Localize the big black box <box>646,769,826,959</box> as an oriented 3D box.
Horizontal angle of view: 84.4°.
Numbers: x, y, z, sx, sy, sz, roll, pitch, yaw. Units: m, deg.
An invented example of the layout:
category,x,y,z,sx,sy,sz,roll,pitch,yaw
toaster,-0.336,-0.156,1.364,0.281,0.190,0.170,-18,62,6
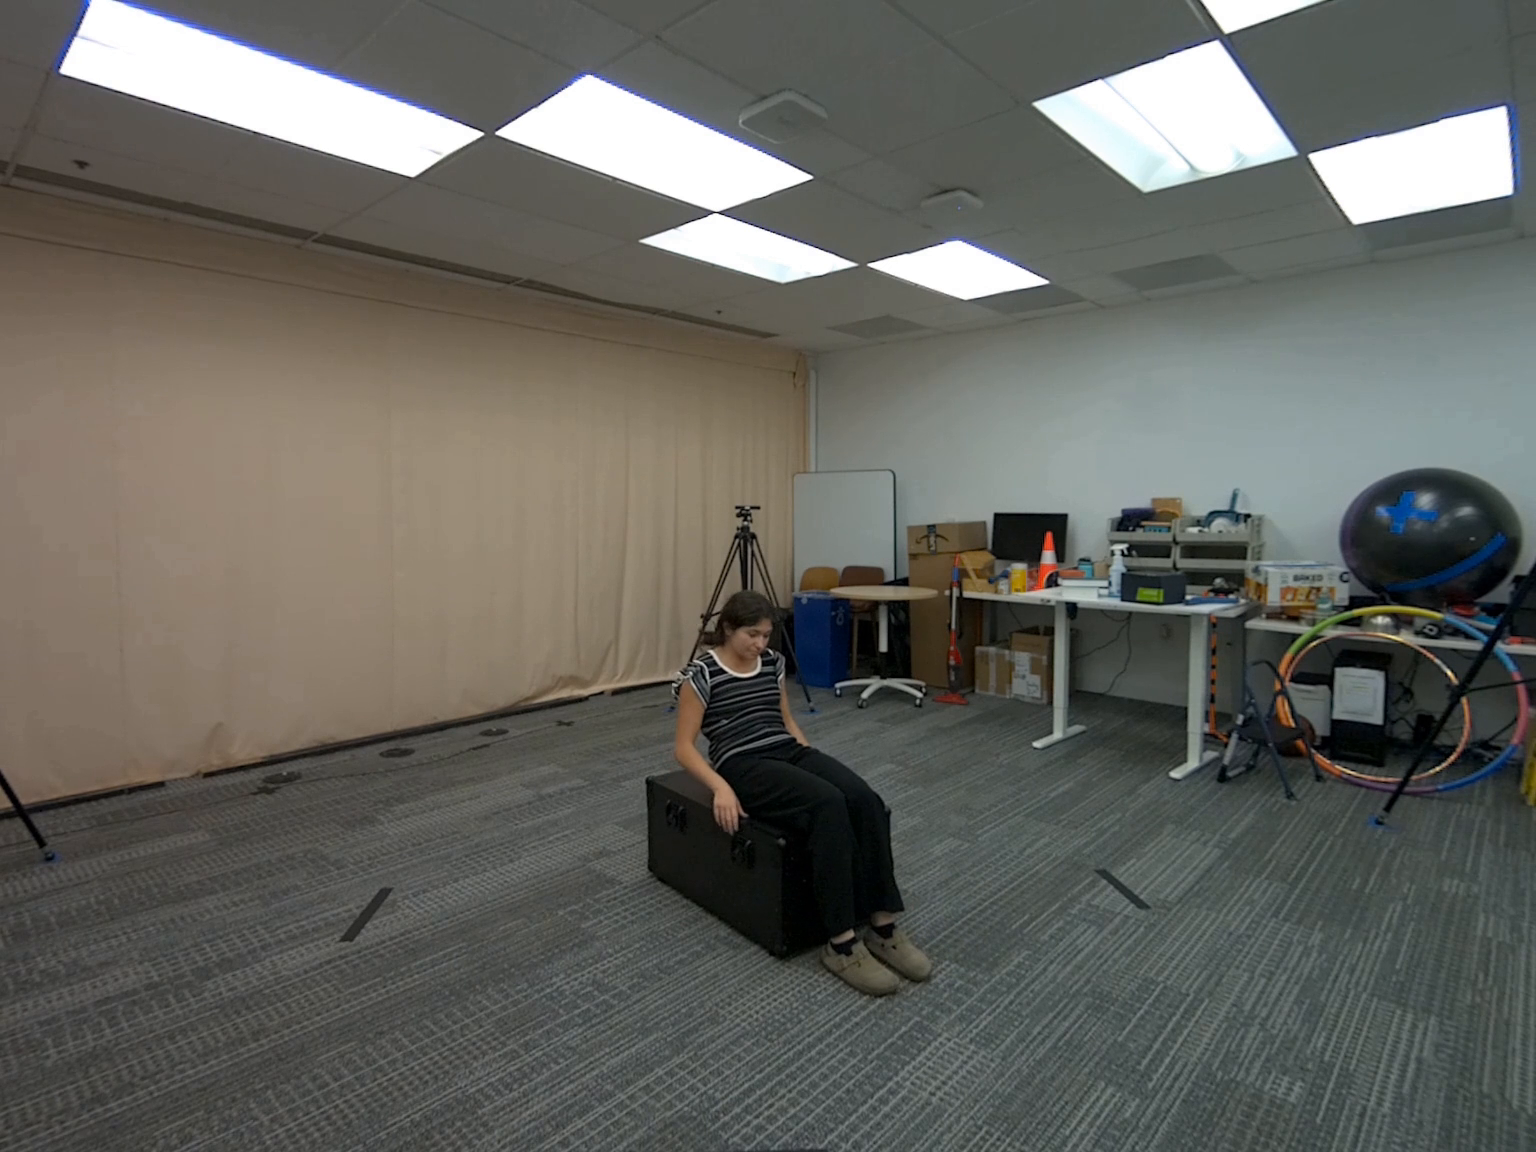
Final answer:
category,x,y,z,sx,sy,sz,roll,pitch,yaw
big black box,-0.041,0.956,3.032,0.506,0.395,0.890,-4,7,-38
